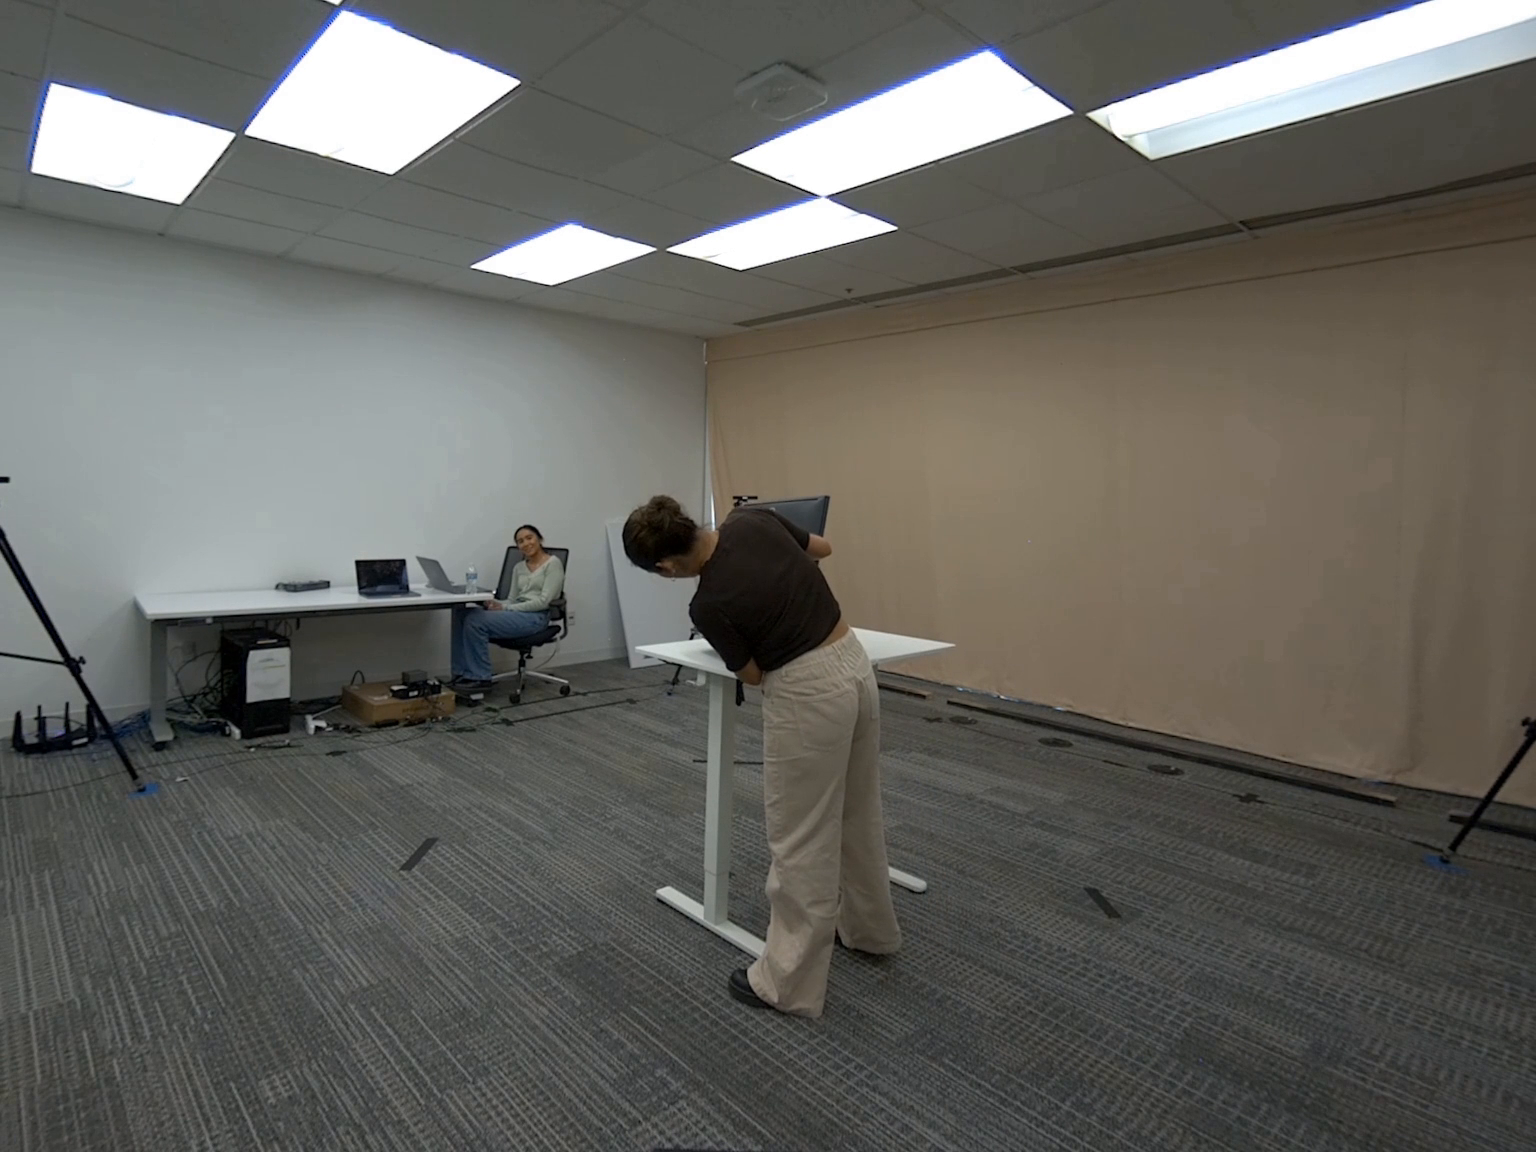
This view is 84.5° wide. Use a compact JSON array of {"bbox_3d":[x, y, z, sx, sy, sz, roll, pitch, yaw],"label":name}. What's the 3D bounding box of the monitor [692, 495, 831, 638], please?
[{"bbox_3d":[-0.044,-0.006,2.717,0.182,0.525,0.551,27,-12,-29],"label":"monitor"}]
